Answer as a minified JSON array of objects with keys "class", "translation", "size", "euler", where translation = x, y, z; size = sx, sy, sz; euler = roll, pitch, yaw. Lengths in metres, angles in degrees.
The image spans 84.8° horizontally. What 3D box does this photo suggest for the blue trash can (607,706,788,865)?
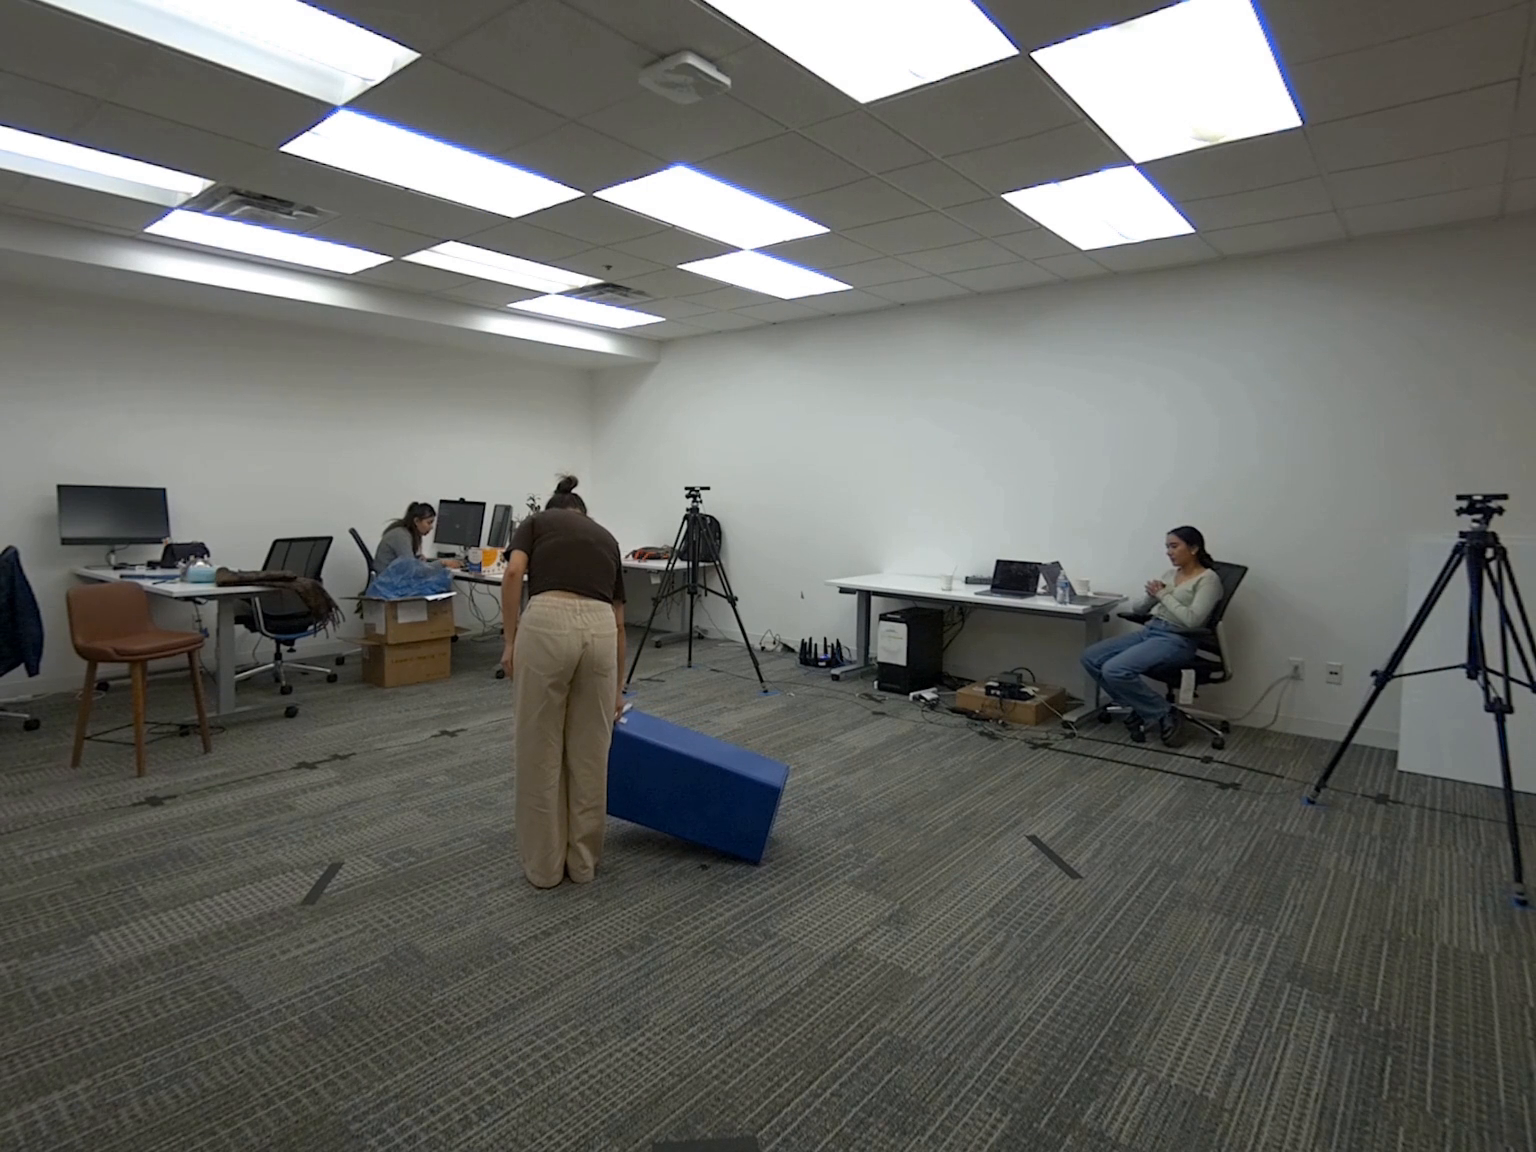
[{"class":"blue trash can","translation":[-0.323,0.808,3.311],"size":[0.725,0.373,0.373],"euler":[17,4,11]}]
